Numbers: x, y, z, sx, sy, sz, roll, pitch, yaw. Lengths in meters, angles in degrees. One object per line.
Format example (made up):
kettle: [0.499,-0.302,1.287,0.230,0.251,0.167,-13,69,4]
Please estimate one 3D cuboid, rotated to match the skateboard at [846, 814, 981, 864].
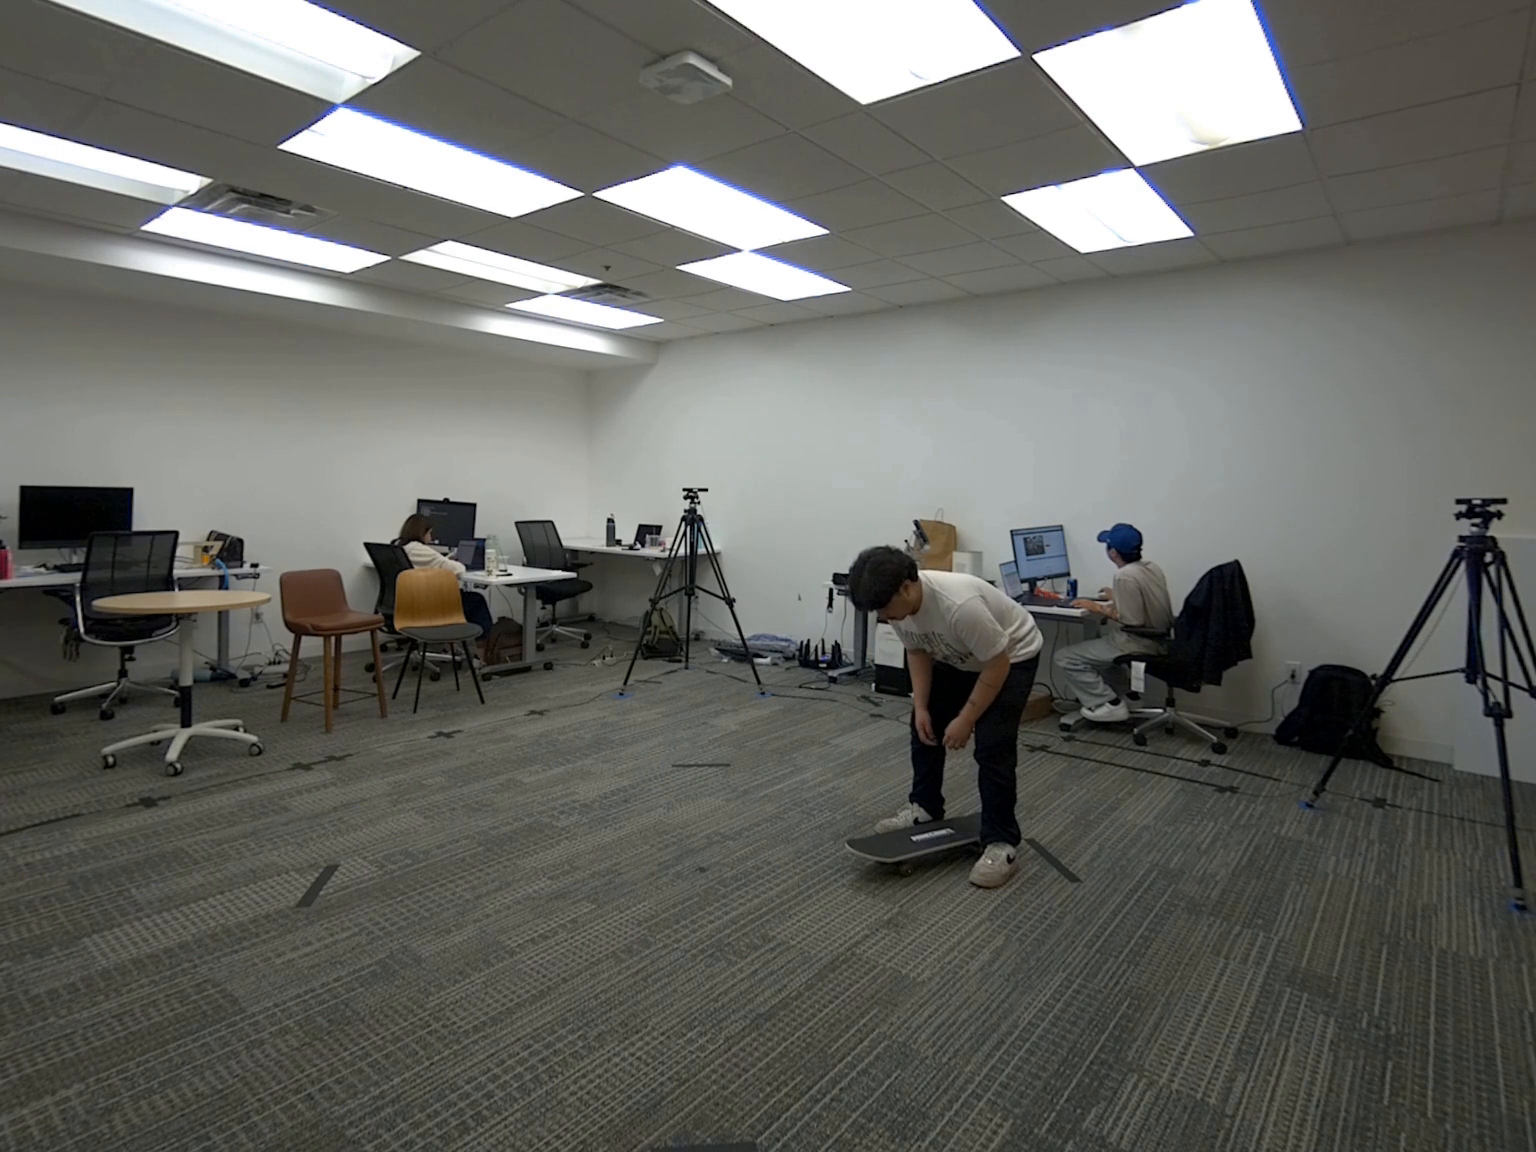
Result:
skateboard: [0.627,1.021,3.260,0.764,0.110,0.199,-2,5,-30]
